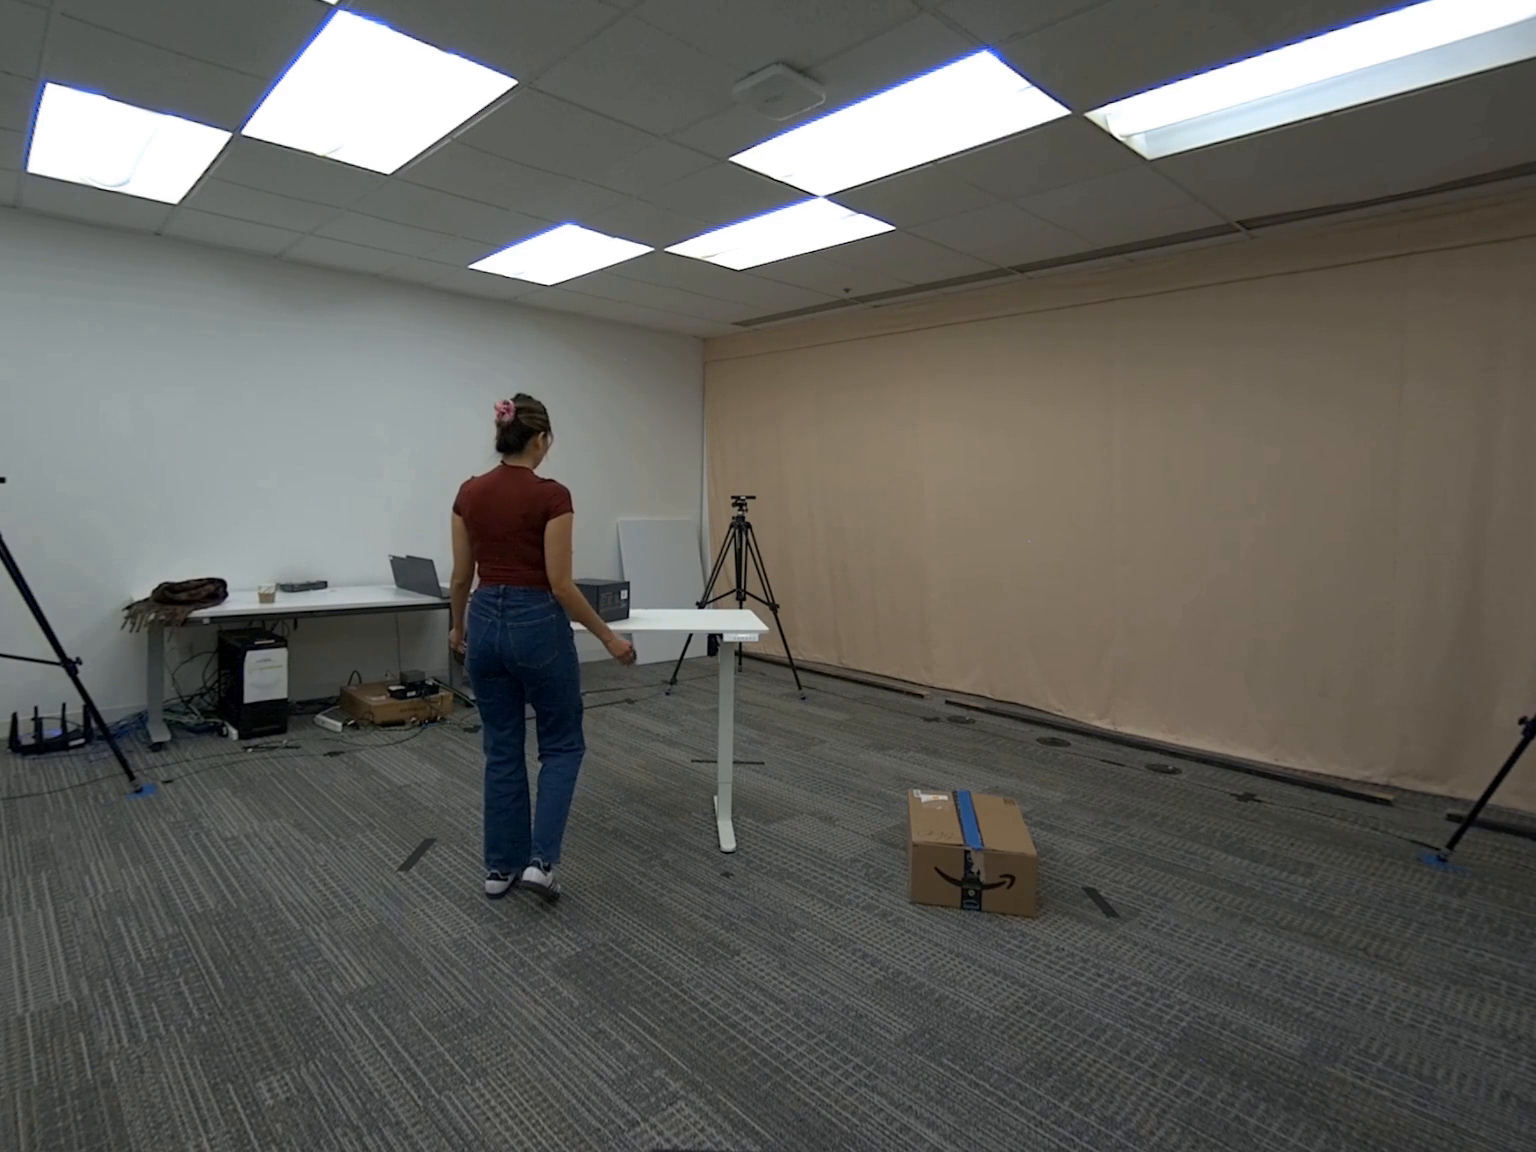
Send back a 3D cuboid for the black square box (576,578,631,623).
[{"bbox_3d":[-0.729,0.098,3.443,0.233,0.155,0.213,3,5,28],"label":"black square box"}]
